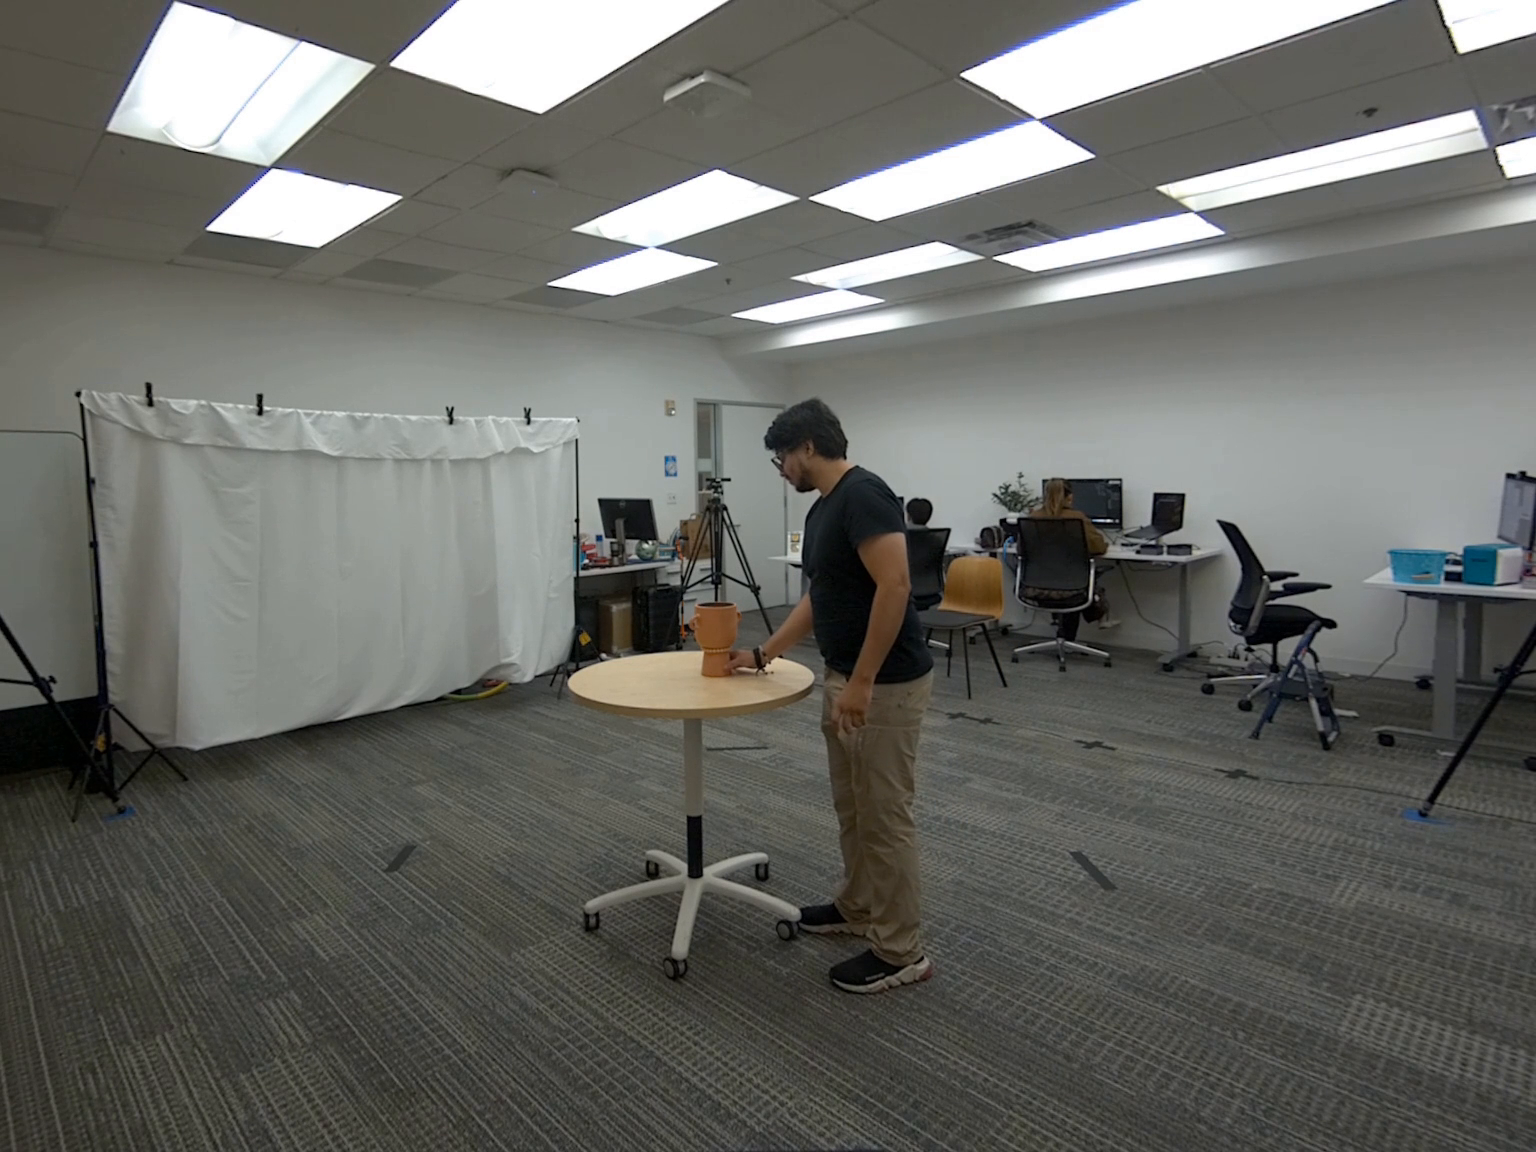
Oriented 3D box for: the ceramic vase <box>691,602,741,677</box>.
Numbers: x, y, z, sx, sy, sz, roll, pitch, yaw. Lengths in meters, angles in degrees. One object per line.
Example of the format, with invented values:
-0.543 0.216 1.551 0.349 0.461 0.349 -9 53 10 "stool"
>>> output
-0.145 0.199 2.692 0.159 0.218 0.135 -2 7 1 "ceramic vase"
